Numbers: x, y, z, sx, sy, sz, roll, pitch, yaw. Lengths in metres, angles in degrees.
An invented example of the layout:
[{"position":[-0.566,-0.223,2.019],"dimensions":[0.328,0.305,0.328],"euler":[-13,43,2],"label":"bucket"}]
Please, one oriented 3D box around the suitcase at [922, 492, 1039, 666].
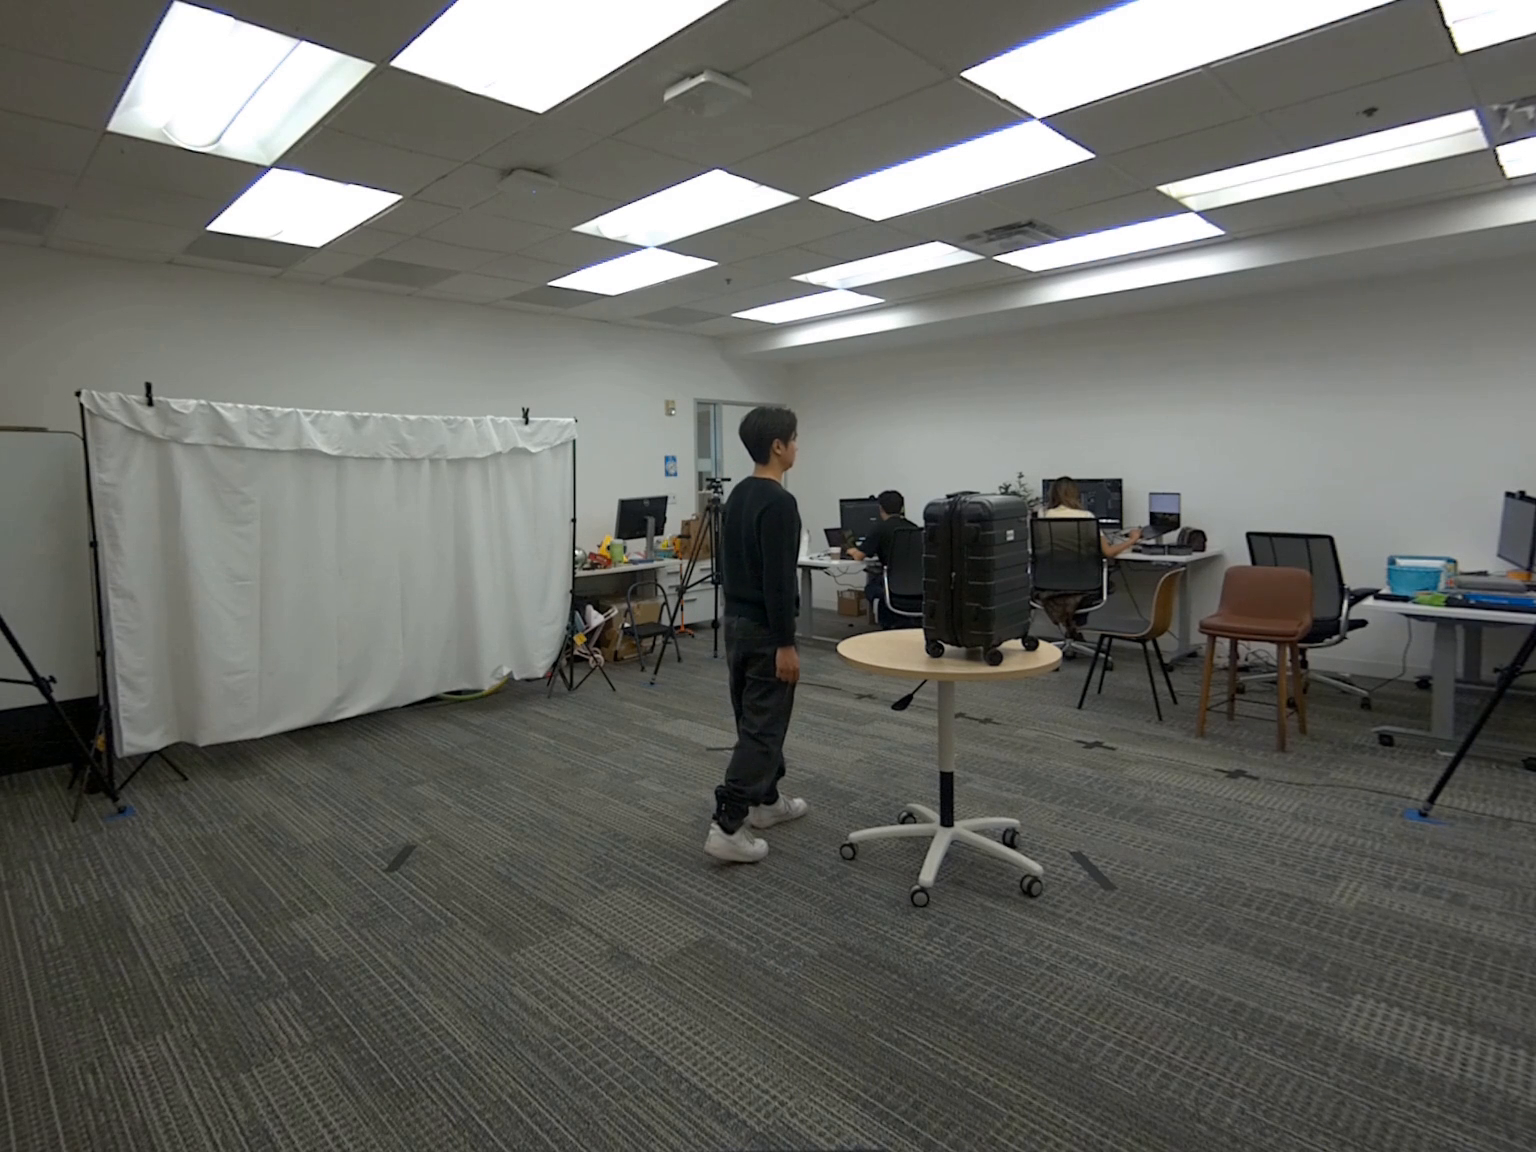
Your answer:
[{"position":[0.721,-0.010,2.901],"dimensions":[0.256,0.547,0.366],"euler":[2,6,42],"label":"suitcase"}]
